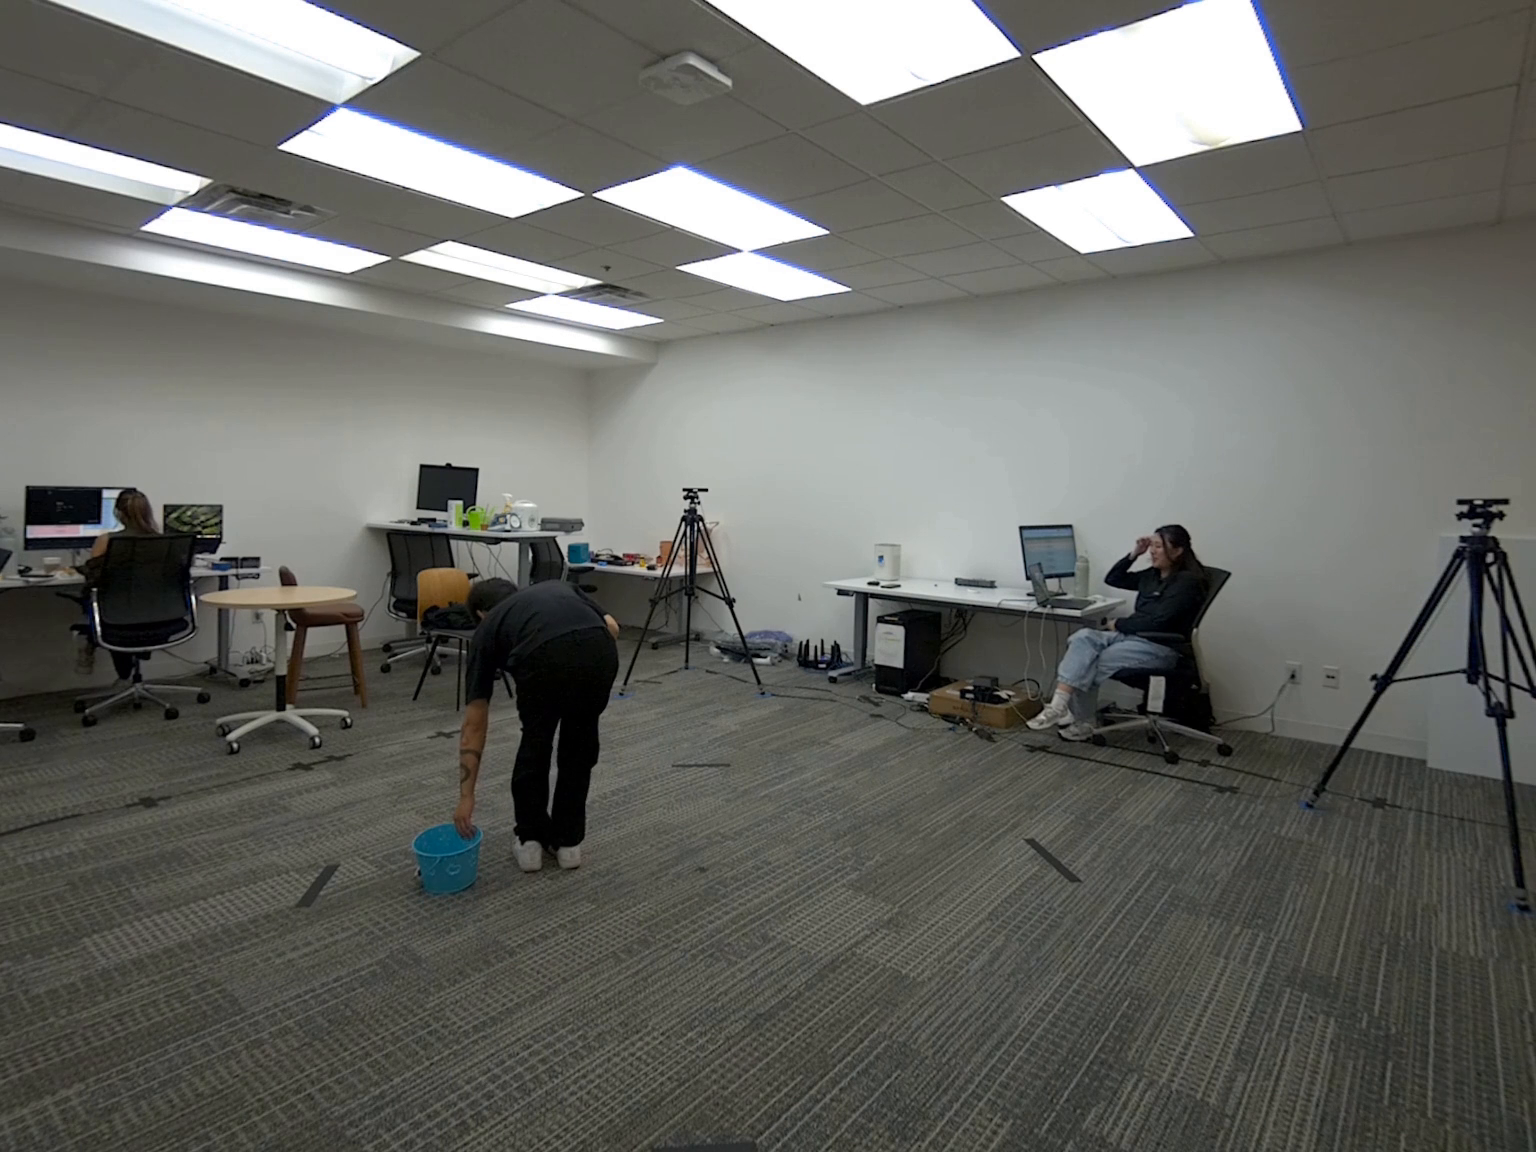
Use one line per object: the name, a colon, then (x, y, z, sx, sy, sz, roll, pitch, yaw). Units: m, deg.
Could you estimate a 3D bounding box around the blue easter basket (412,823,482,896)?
blue easter basket: (-1.119, 0.984, 2.966, 0.243, 0.154, 0.246, -1, 11, -2)
